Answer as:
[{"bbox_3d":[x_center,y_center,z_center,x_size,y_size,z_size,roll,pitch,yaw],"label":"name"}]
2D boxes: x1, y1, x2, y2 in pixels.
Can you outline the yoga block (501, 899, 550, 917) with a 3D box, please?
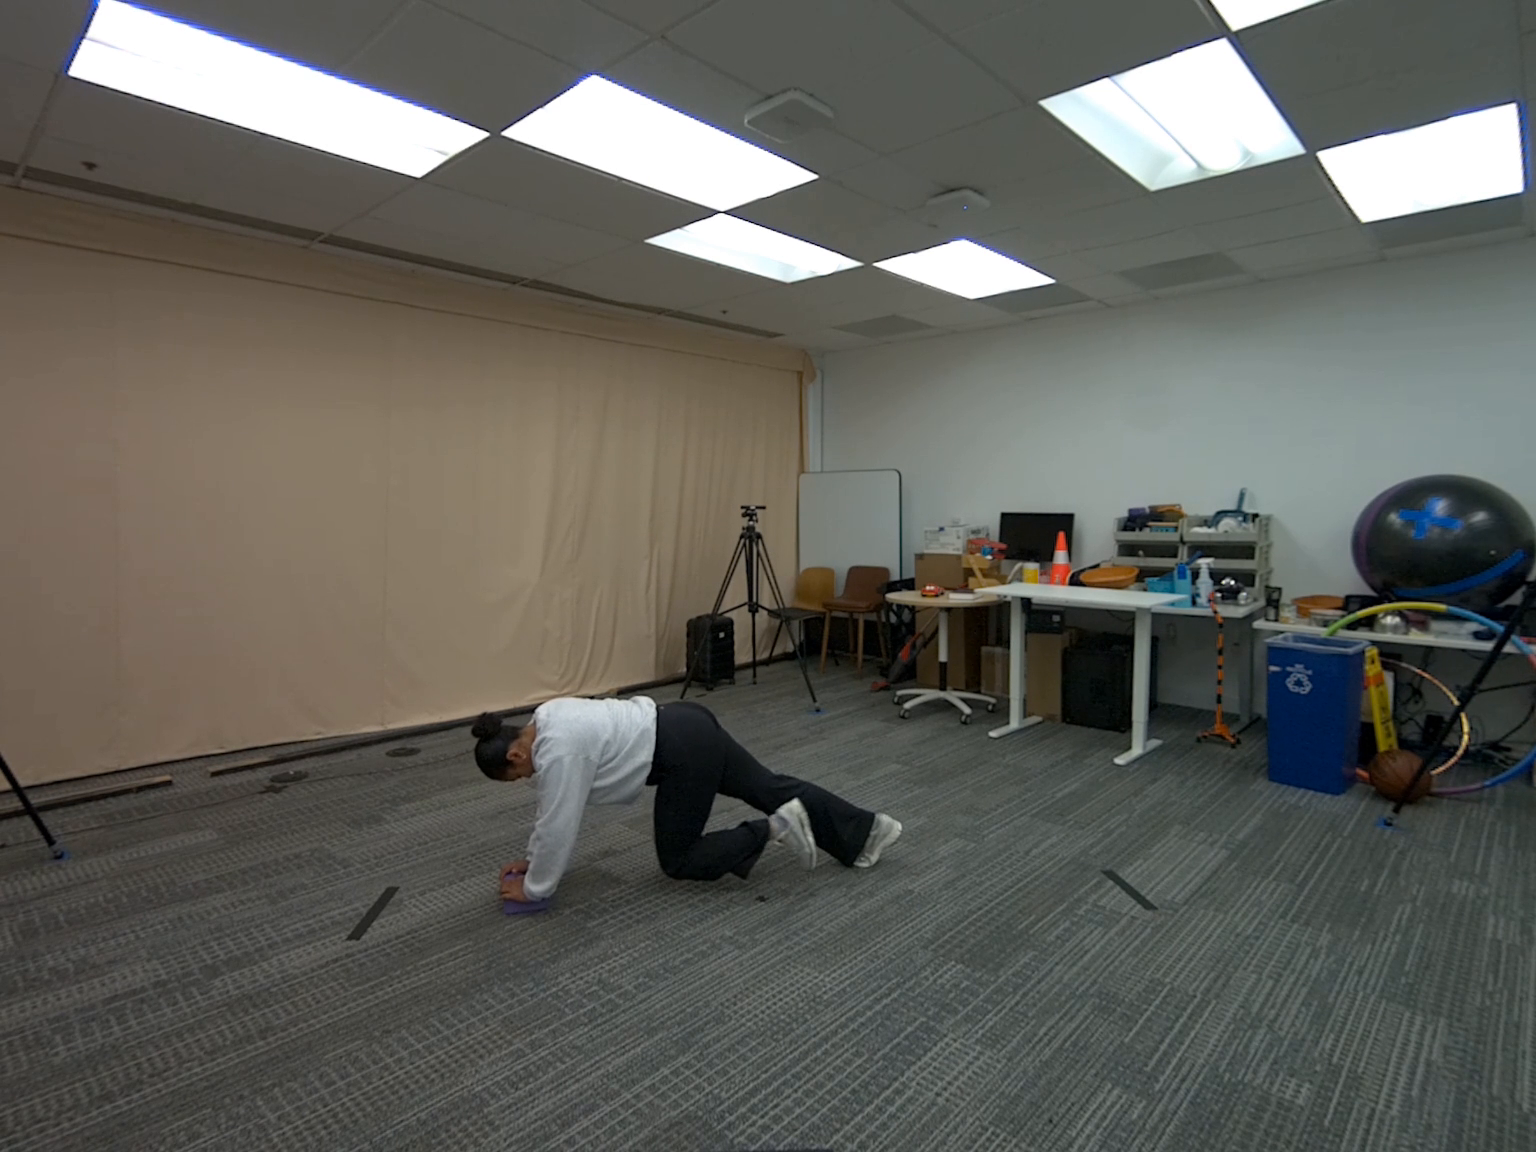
[{"bbox_3d":[-0.868,1.124,2.998,0.146,0.076,0.234,-2,4,-17],"label":"yoga block"}]
